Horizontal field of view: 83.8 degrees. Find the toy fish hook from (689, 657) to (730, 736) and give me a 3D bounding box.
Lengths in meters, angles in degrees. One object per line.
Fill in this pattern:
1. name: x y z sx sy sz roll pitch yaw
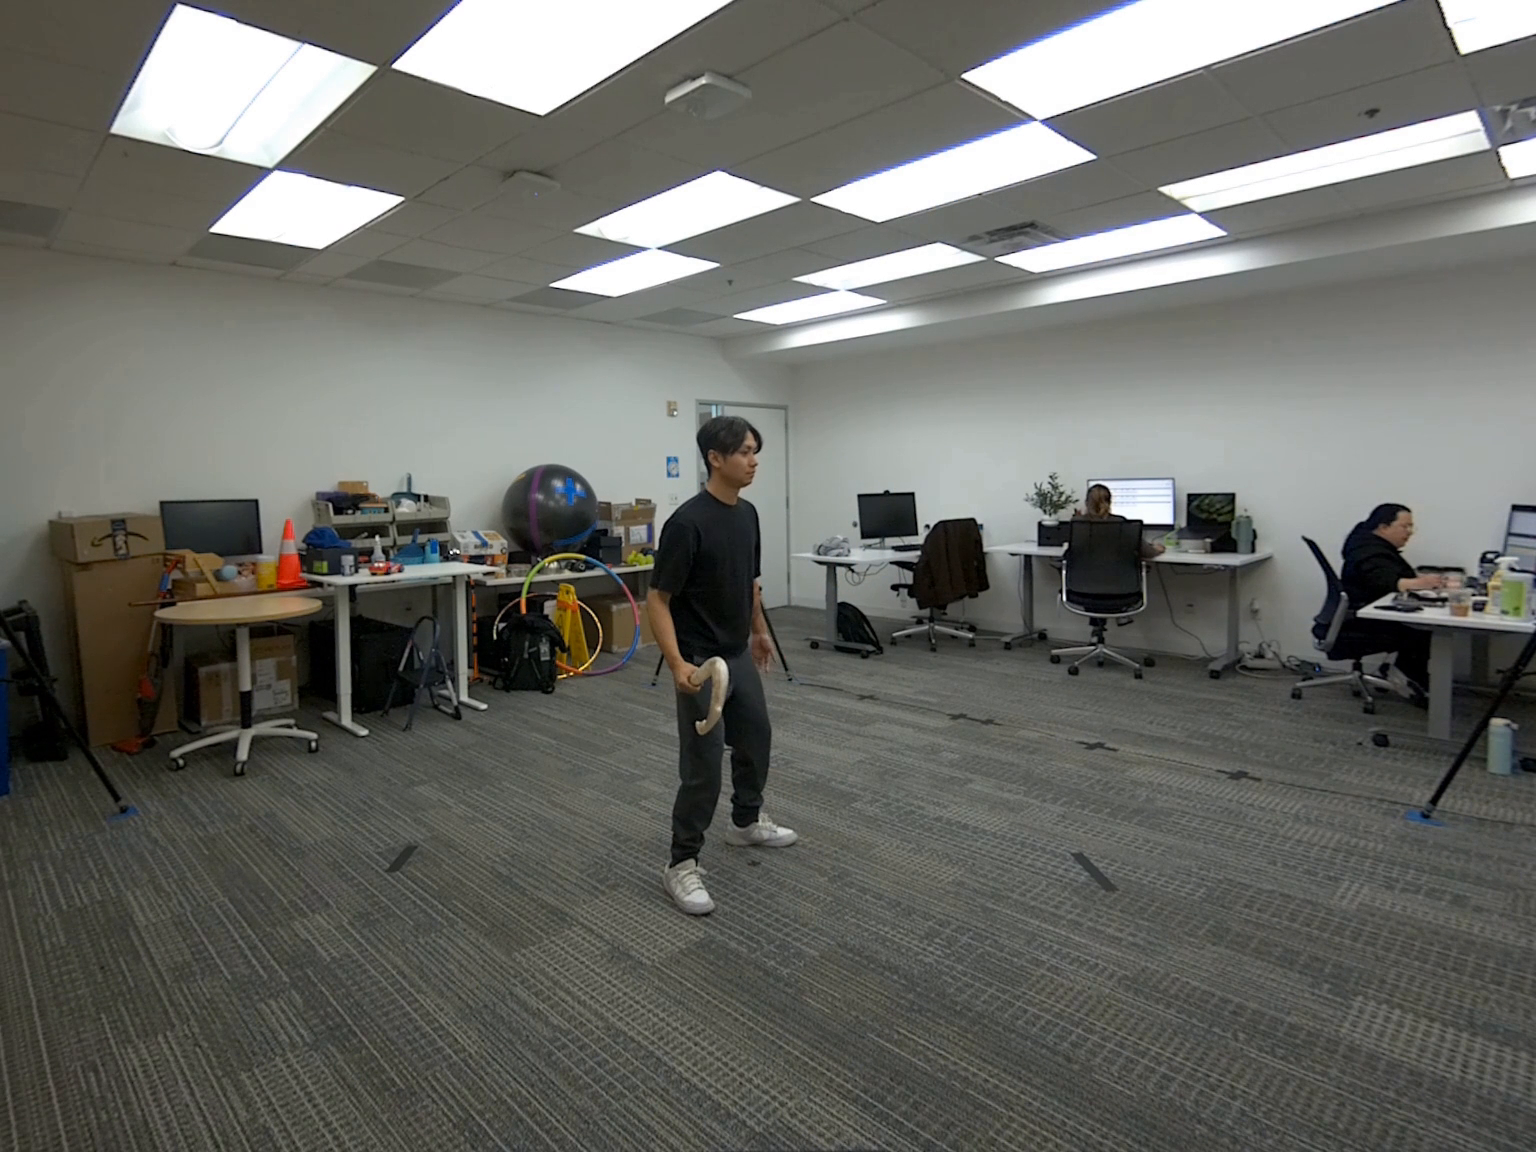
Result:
1. toy fish hook: -0.203 0.365 2.609 0.047 0.227 0.510 14 -13 -15
